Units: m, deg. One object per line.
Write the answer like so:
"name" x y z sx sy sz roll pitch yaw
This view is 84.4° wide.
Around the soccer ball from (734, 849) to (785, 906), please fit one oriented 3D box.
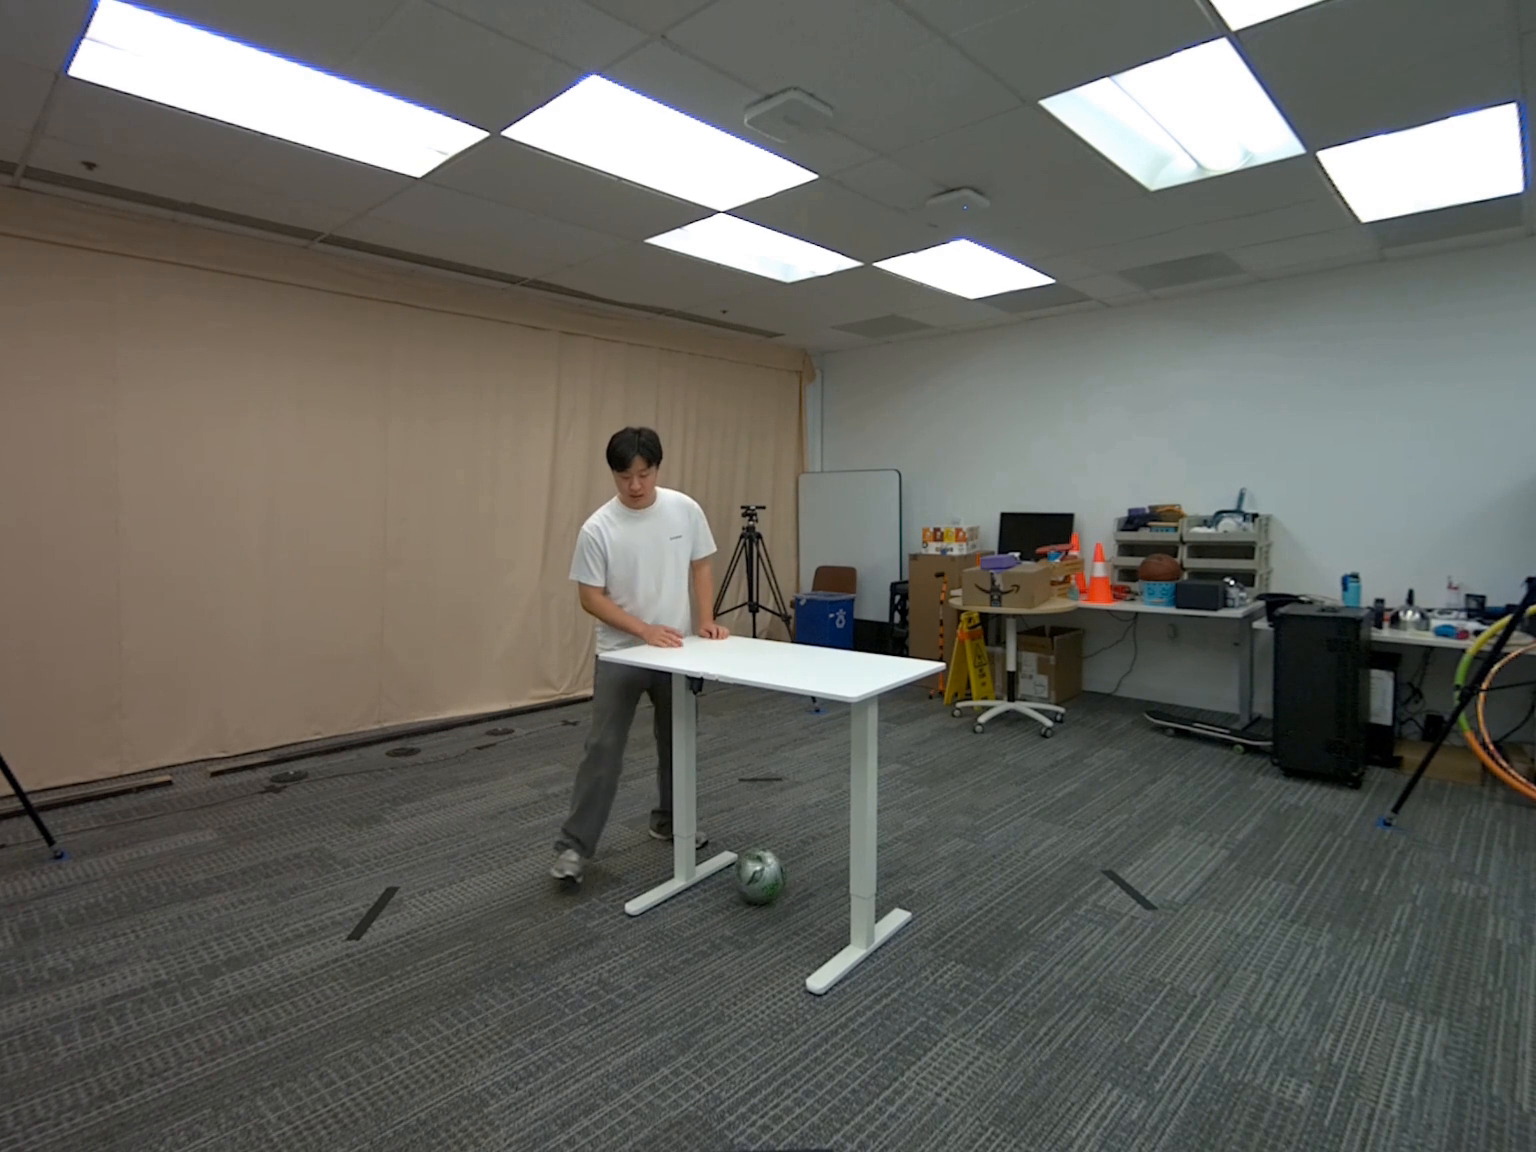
"soccer ball" -0.023 1.056 2.955 0.187 0.187 0.188 0 4 -2
